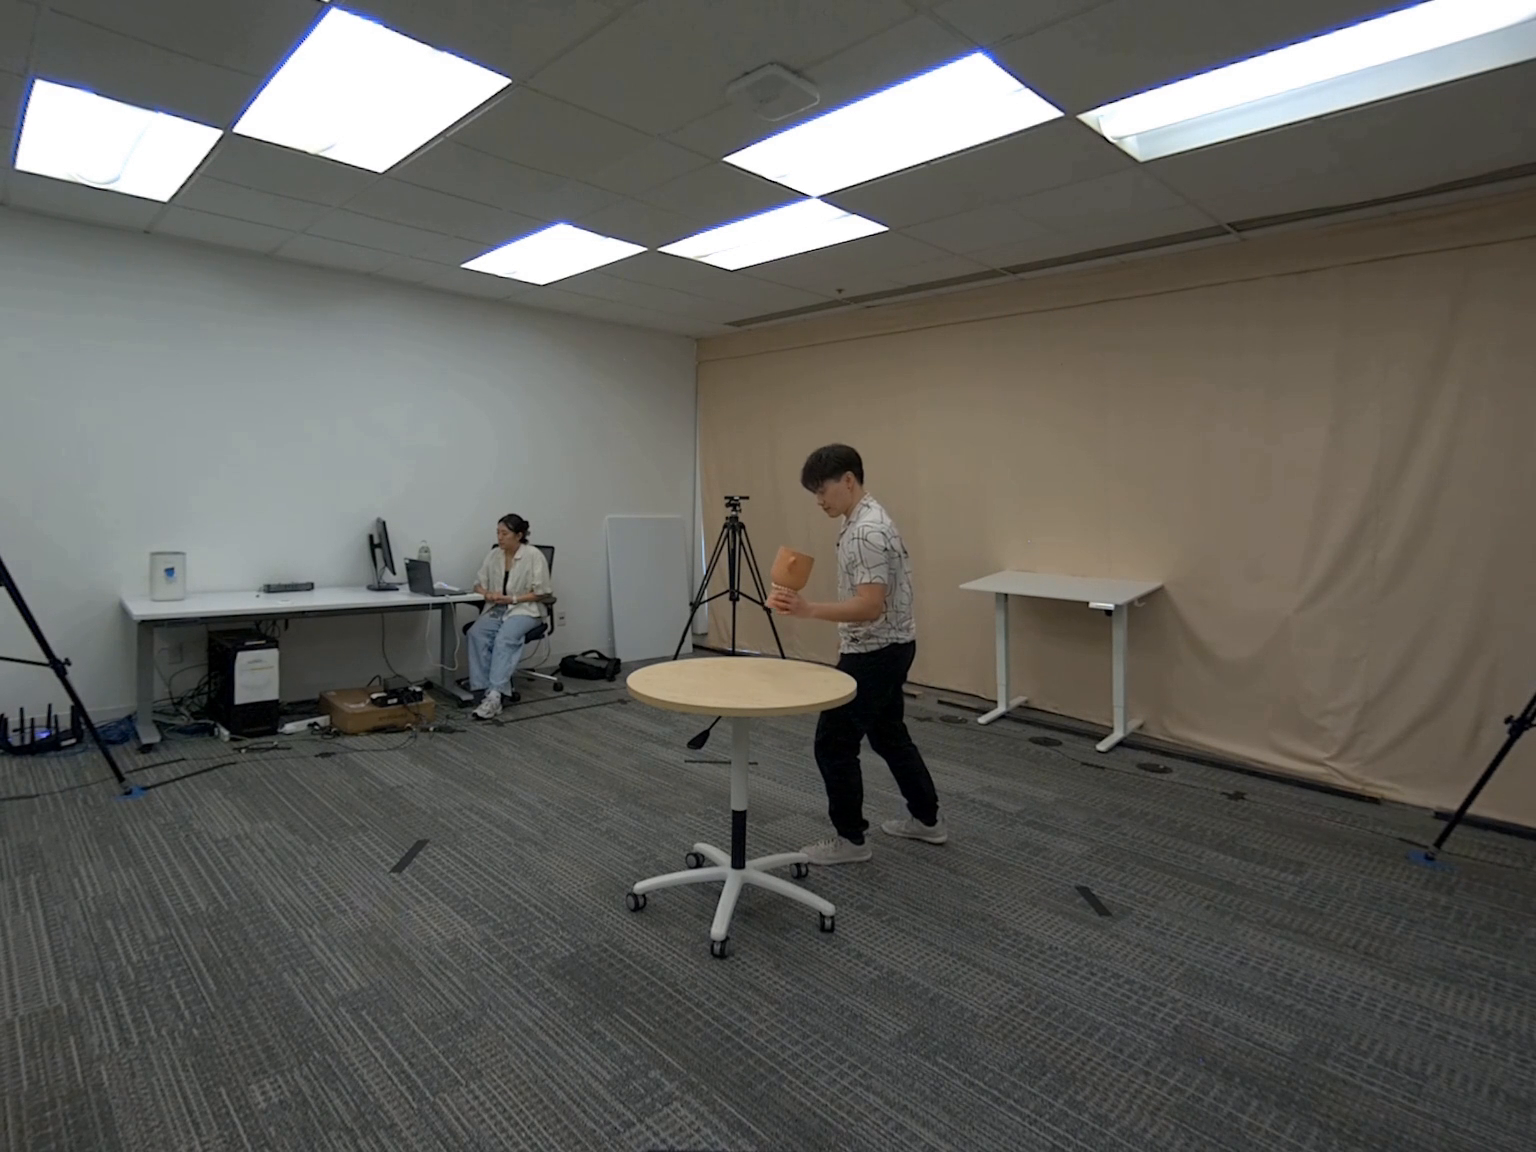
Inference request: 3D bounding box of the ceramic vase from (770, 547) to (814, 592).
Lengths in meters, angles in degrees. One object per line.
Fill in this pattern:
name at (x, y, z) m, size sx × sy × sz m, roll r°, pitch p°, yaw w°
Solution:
ceramic vase at (0.071, 0.018, 2.995) m, size 0.154 × 0.219 × 0.138 m, roll 16°, pitch 2°, yaw -41°
